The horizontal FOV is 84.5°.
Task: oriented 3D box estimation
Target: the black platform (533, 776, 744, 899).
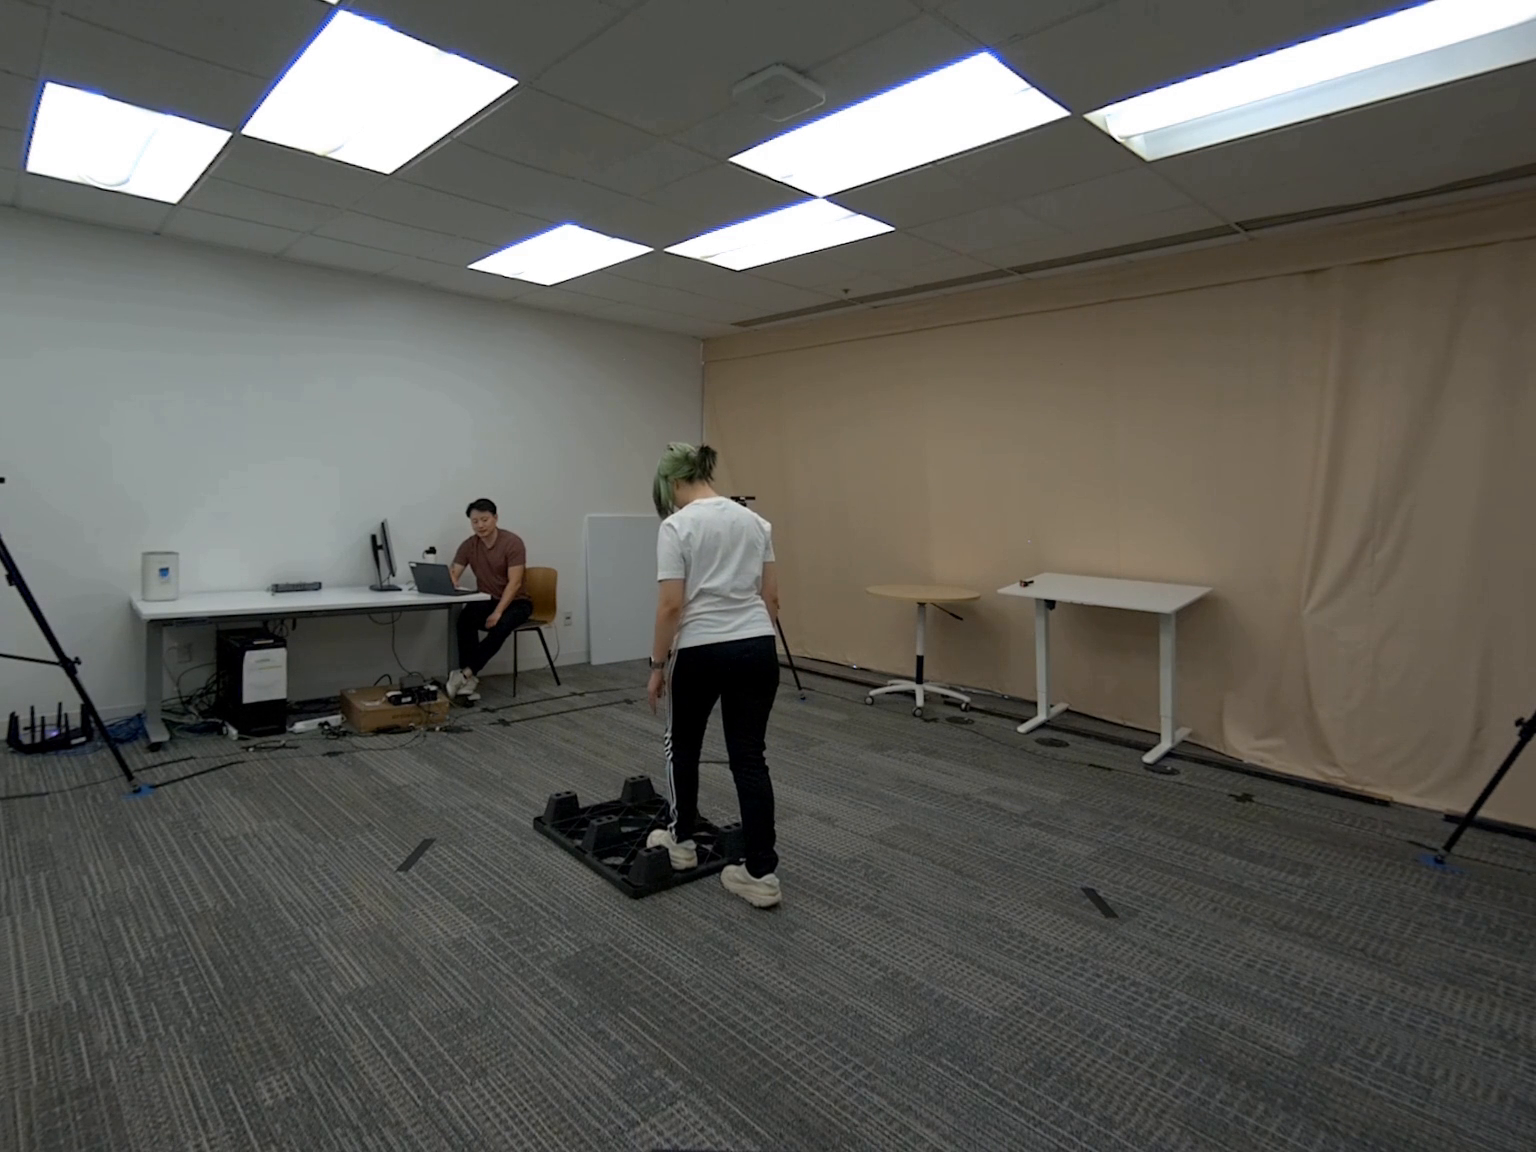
[{"bbox_3d":[-0.497,1.007,3.384,0.591,0.143,0.826,-4,8,-40],"label":"black platform"}]
